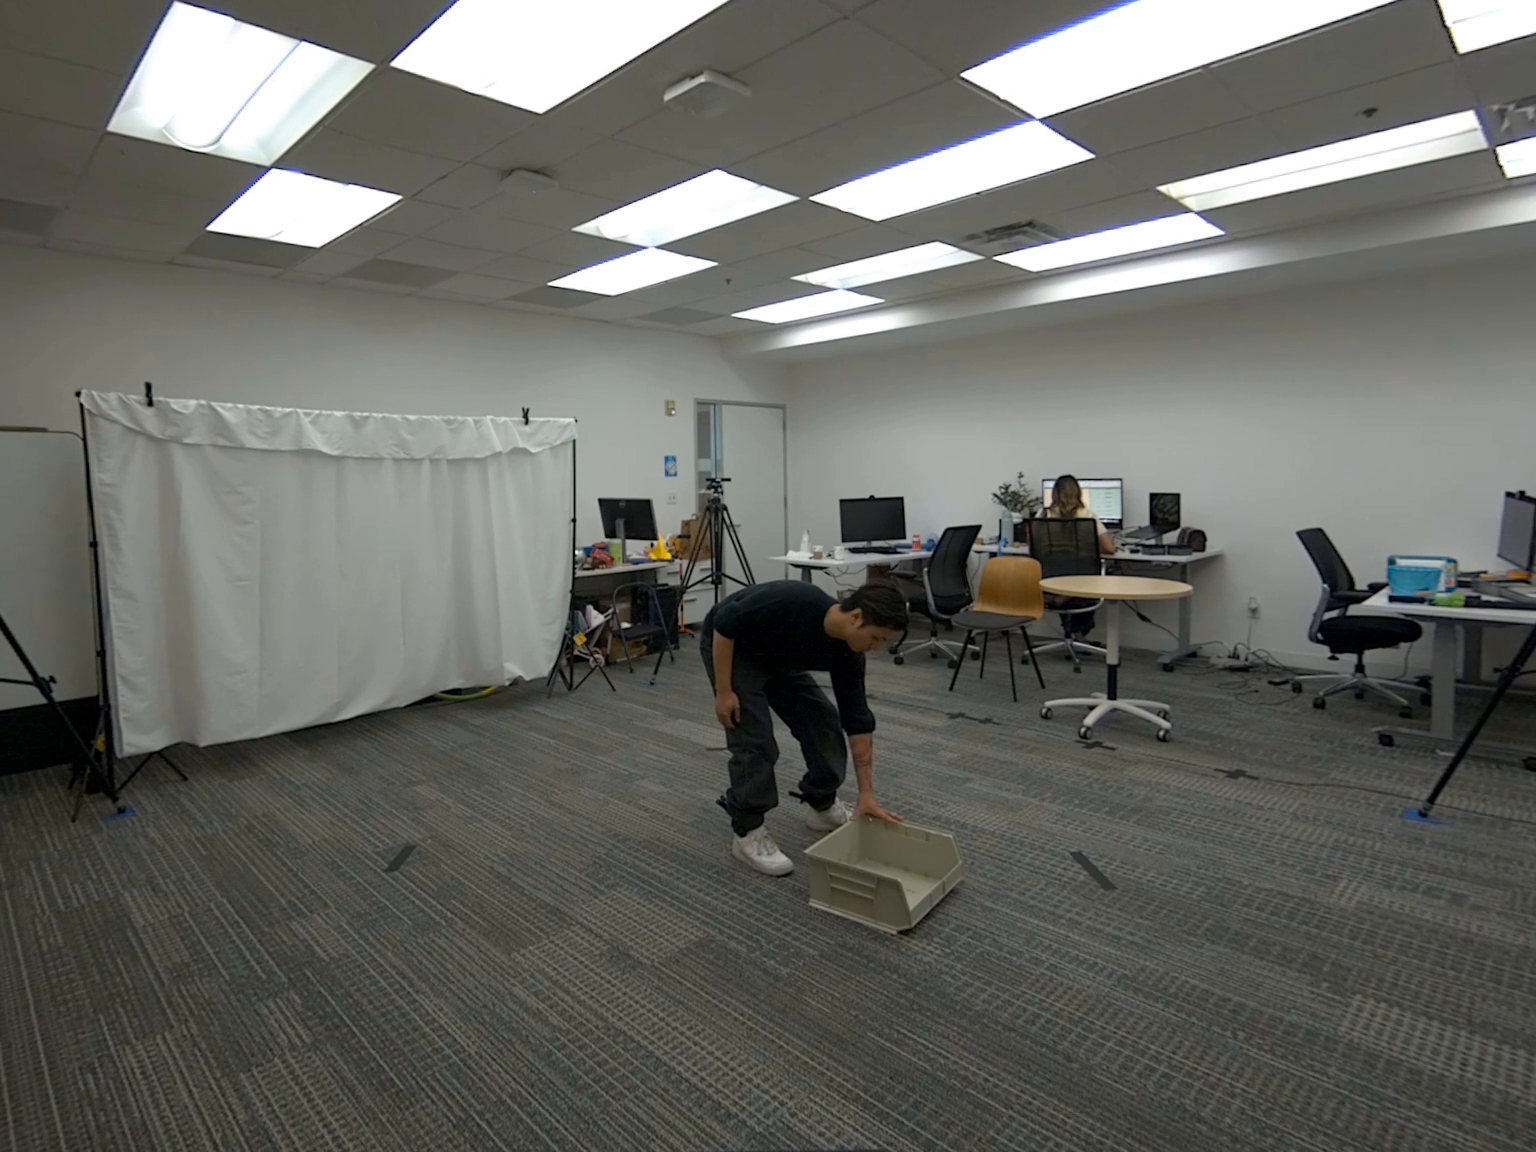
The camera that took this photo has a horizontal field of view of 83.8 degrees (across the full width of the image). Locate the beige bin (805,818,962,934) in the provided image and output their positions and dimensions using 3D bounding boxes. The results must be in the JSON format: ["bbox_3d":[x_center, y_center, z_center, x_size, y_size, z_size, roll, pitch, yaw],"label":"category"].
[{"bbox_3d":[0.396,0.981,2.833,0.388,0.188,0.412,2,7,36],"label":"beige bin"}]
